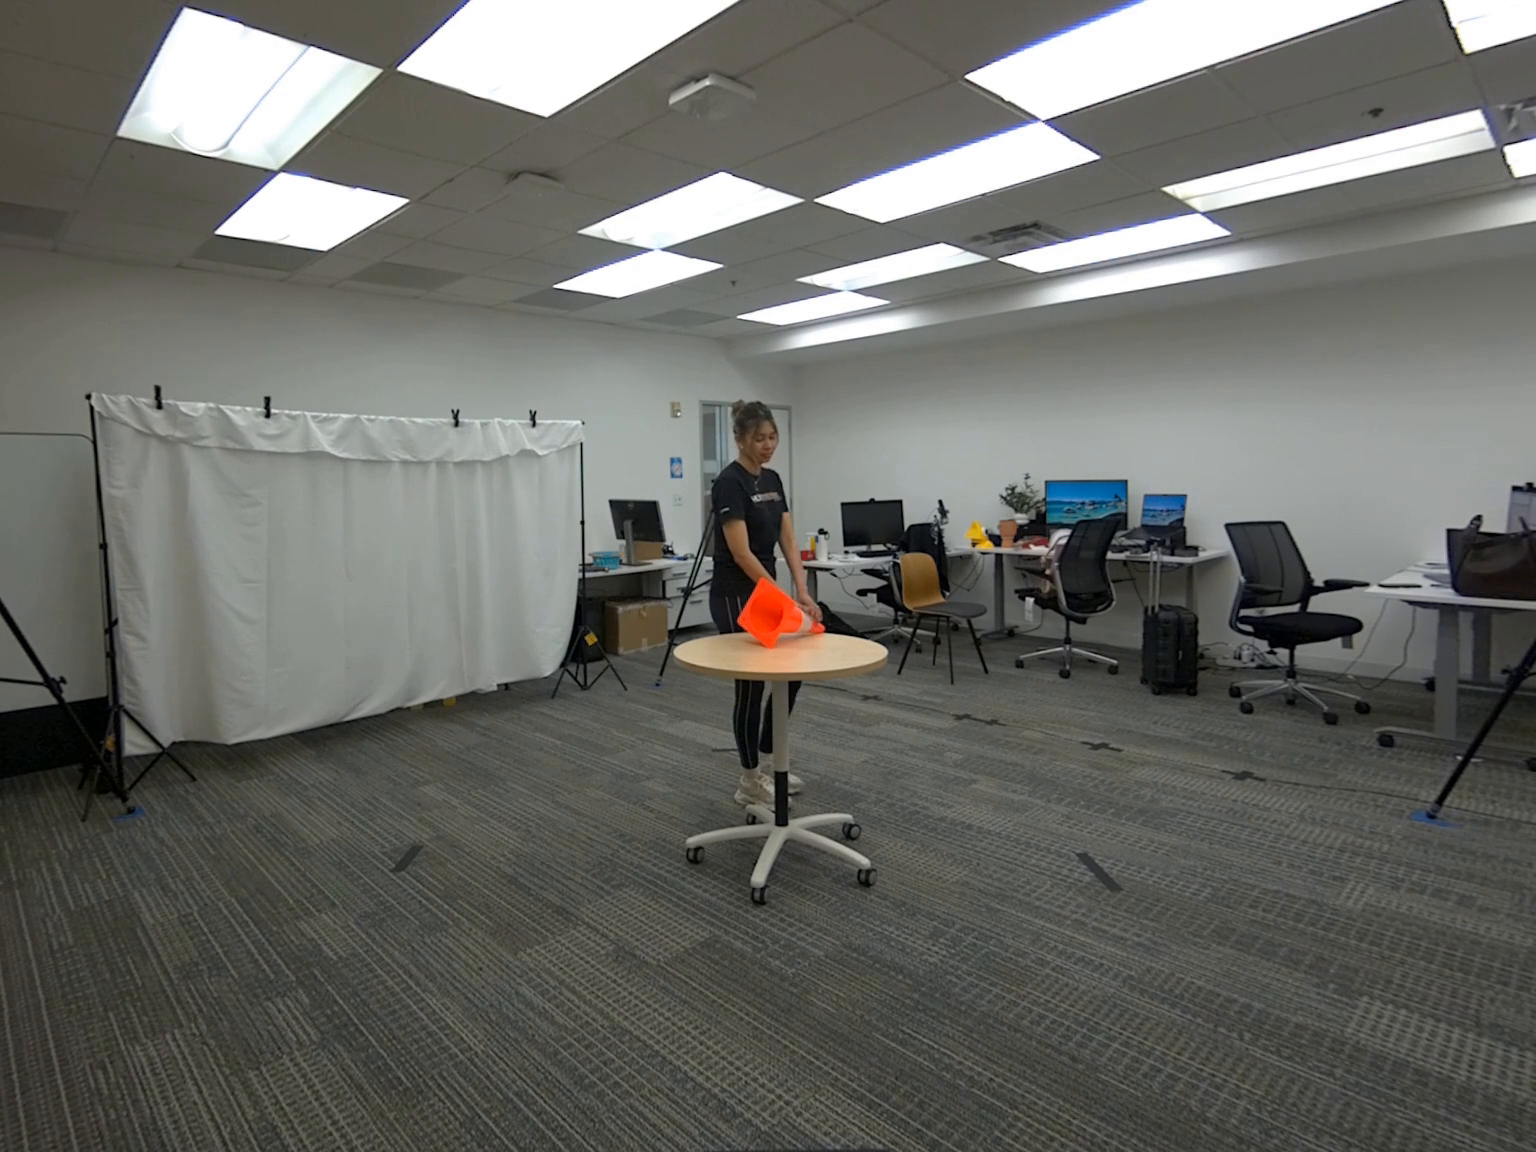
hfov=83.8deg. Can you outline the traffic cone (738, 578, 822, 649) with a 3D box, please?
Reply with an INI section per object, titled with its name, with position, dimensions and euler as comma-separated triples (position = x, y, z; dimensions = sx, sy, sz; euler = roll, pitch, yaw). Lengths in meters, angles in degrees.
[traffic cone]
position = 0.094, 0.178, 3.282
dimensions = 0.213, 0.203, 0.370
euler = 37, 11, 38
